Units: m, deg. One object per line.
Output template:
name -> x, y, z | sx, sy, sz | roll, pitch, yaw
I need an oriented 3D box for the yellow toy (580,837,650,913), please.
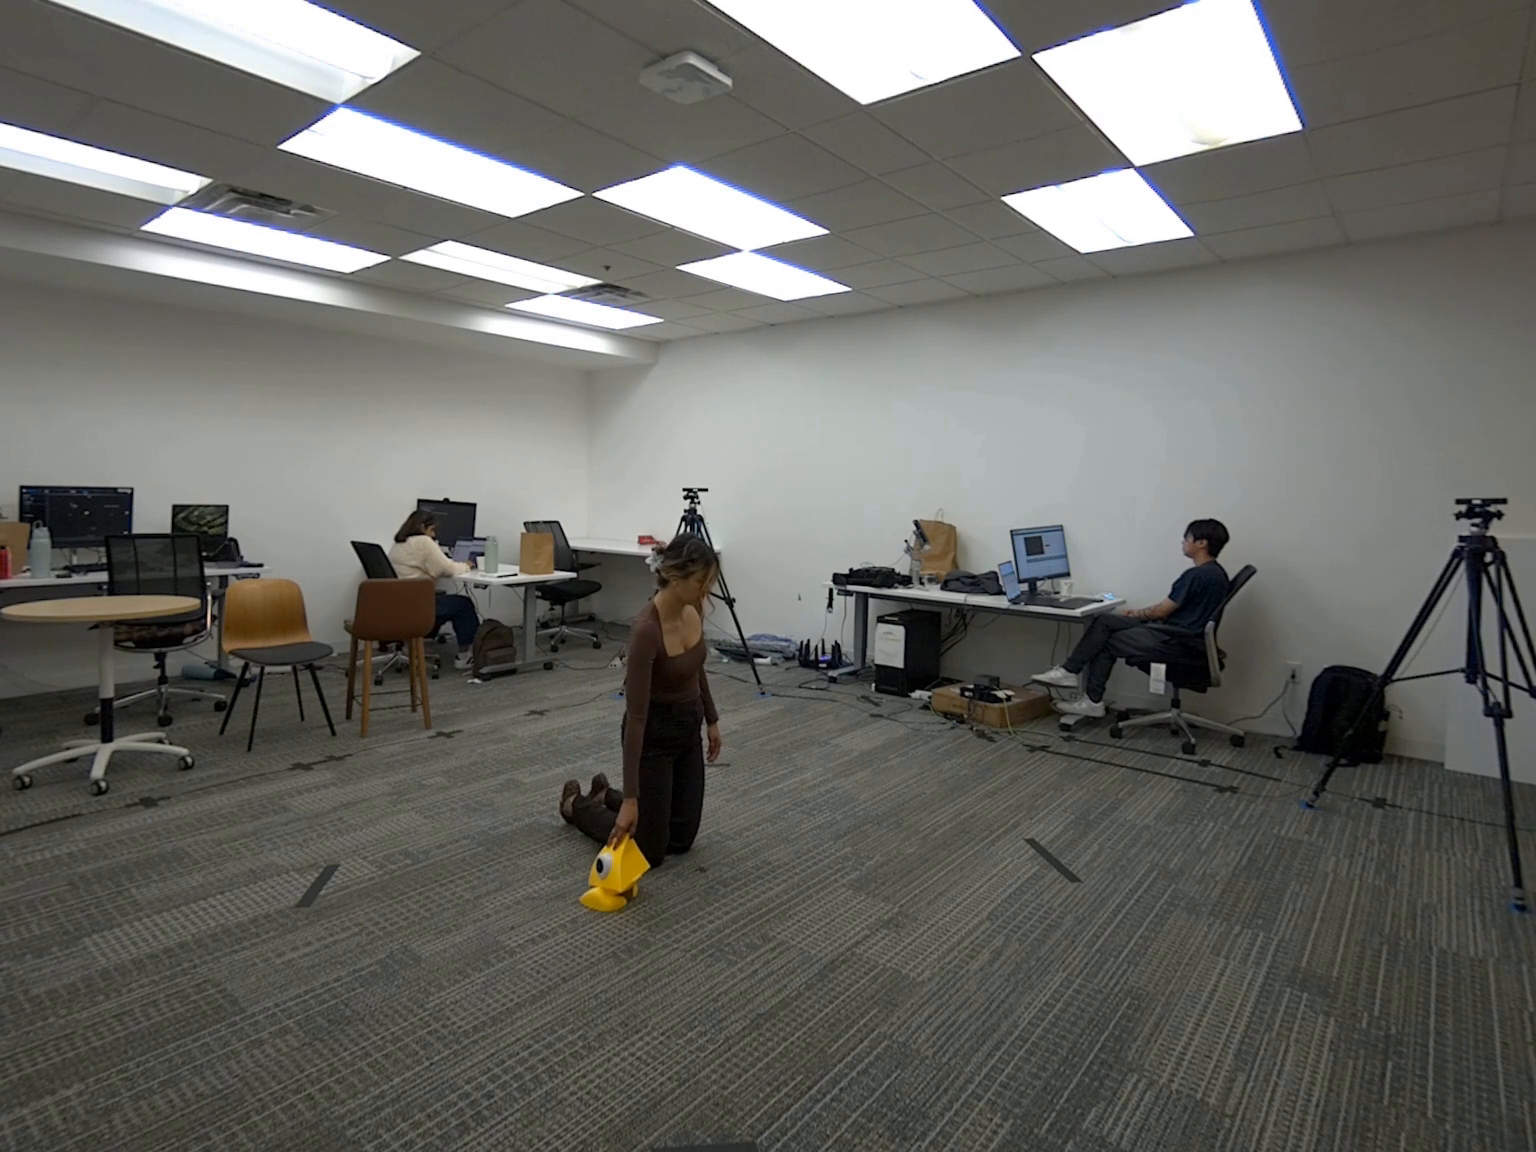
yellow toy -> -0.535, 0.972, 2.877 | 0.198, 0.230, 0.200 | 2, 3, 23
